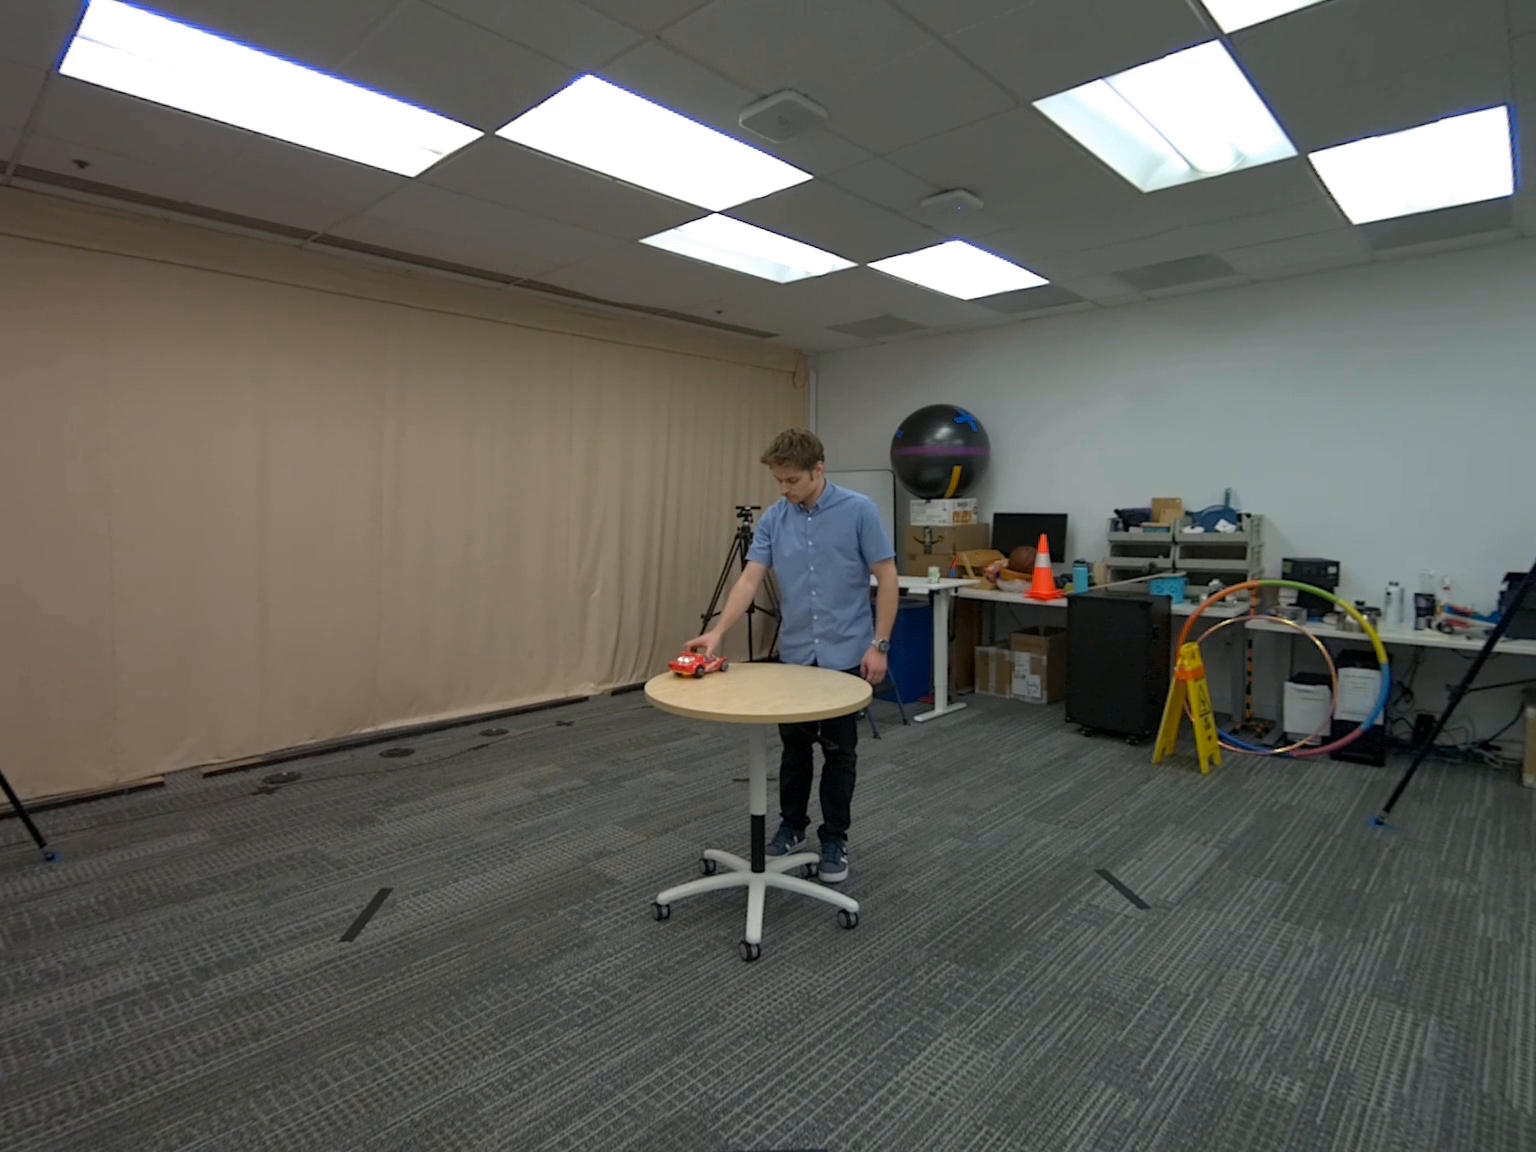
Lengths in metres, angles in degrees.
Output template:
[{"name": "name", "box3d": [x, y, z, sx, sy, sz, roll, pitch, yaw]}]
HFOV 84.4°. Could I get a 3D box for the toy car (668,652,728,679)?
[{"name": "toy car", "box3d": [-0.248, 0.324, 3.031, 0.134, 0.083, 0.246, 5, -5, 36]}]
